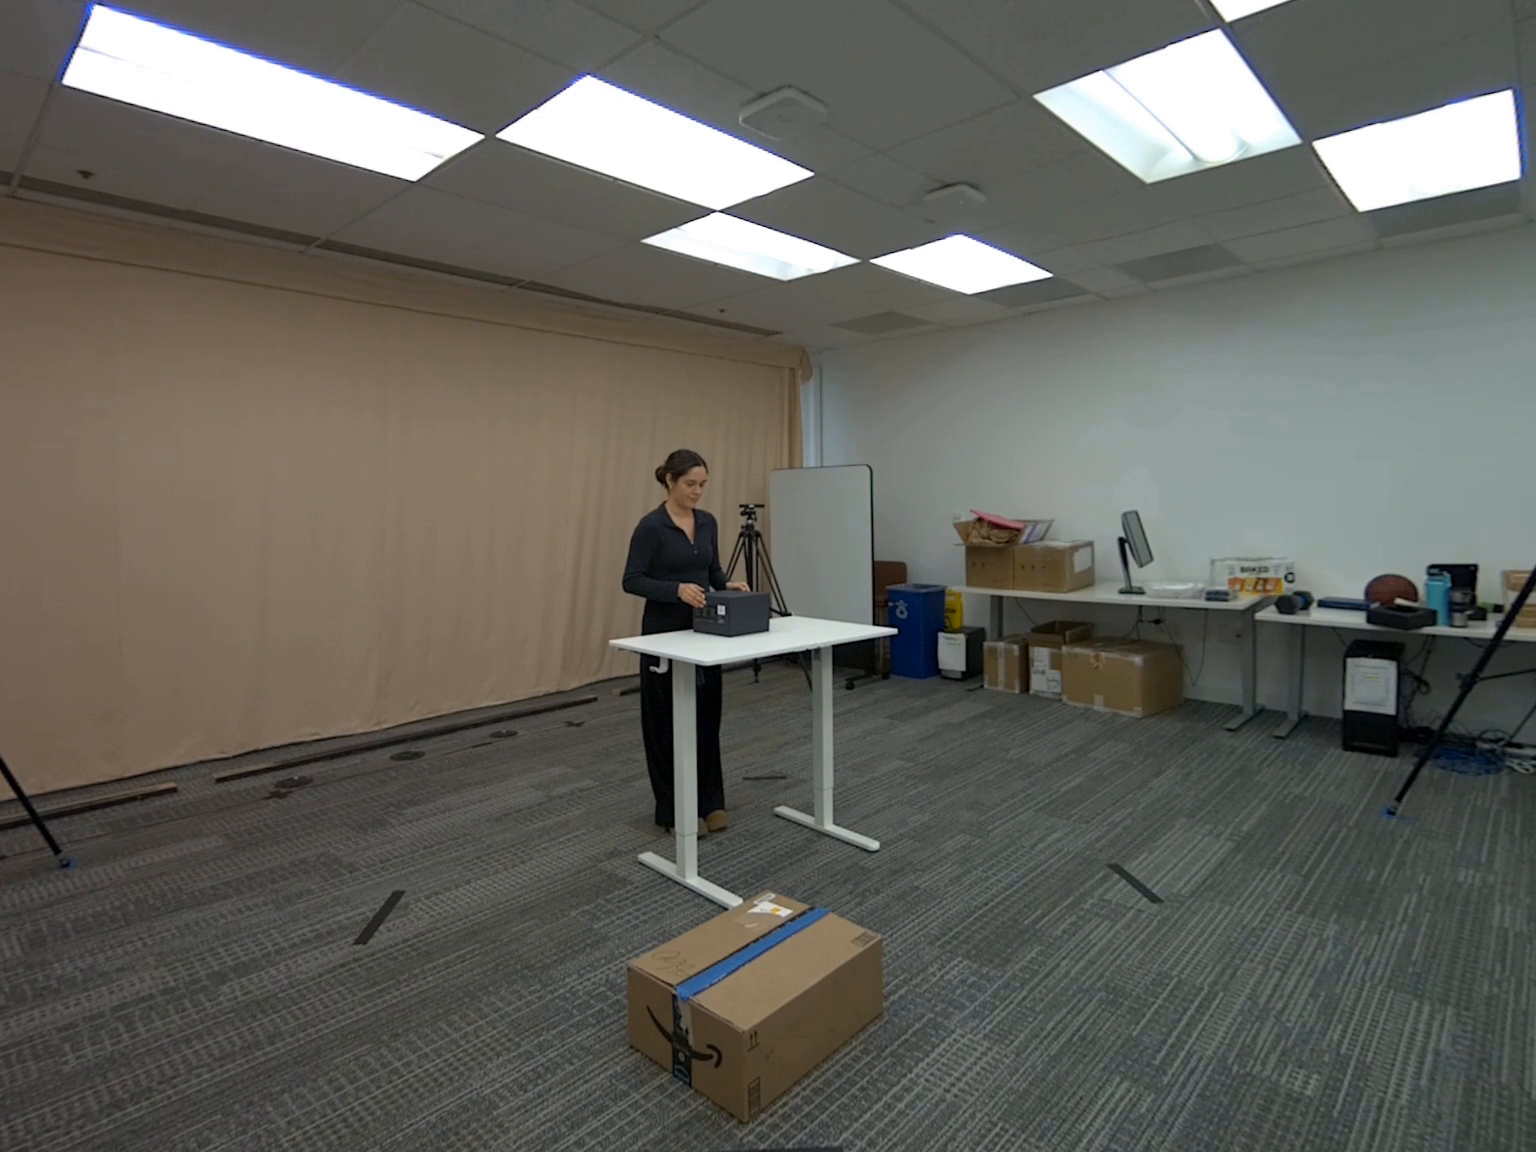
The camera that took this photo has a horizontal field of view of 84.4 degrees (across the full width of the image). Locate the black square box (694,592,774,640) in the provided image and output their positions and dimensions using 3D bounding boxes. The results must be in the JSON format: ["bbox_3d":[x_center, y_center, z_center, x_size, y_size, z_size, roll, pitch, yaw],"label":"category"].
[{"bbox_3d":[-0.139,0.153,3.403,0.221,0.156,0.224,-2,4,-43],"label":"black square box"}]
